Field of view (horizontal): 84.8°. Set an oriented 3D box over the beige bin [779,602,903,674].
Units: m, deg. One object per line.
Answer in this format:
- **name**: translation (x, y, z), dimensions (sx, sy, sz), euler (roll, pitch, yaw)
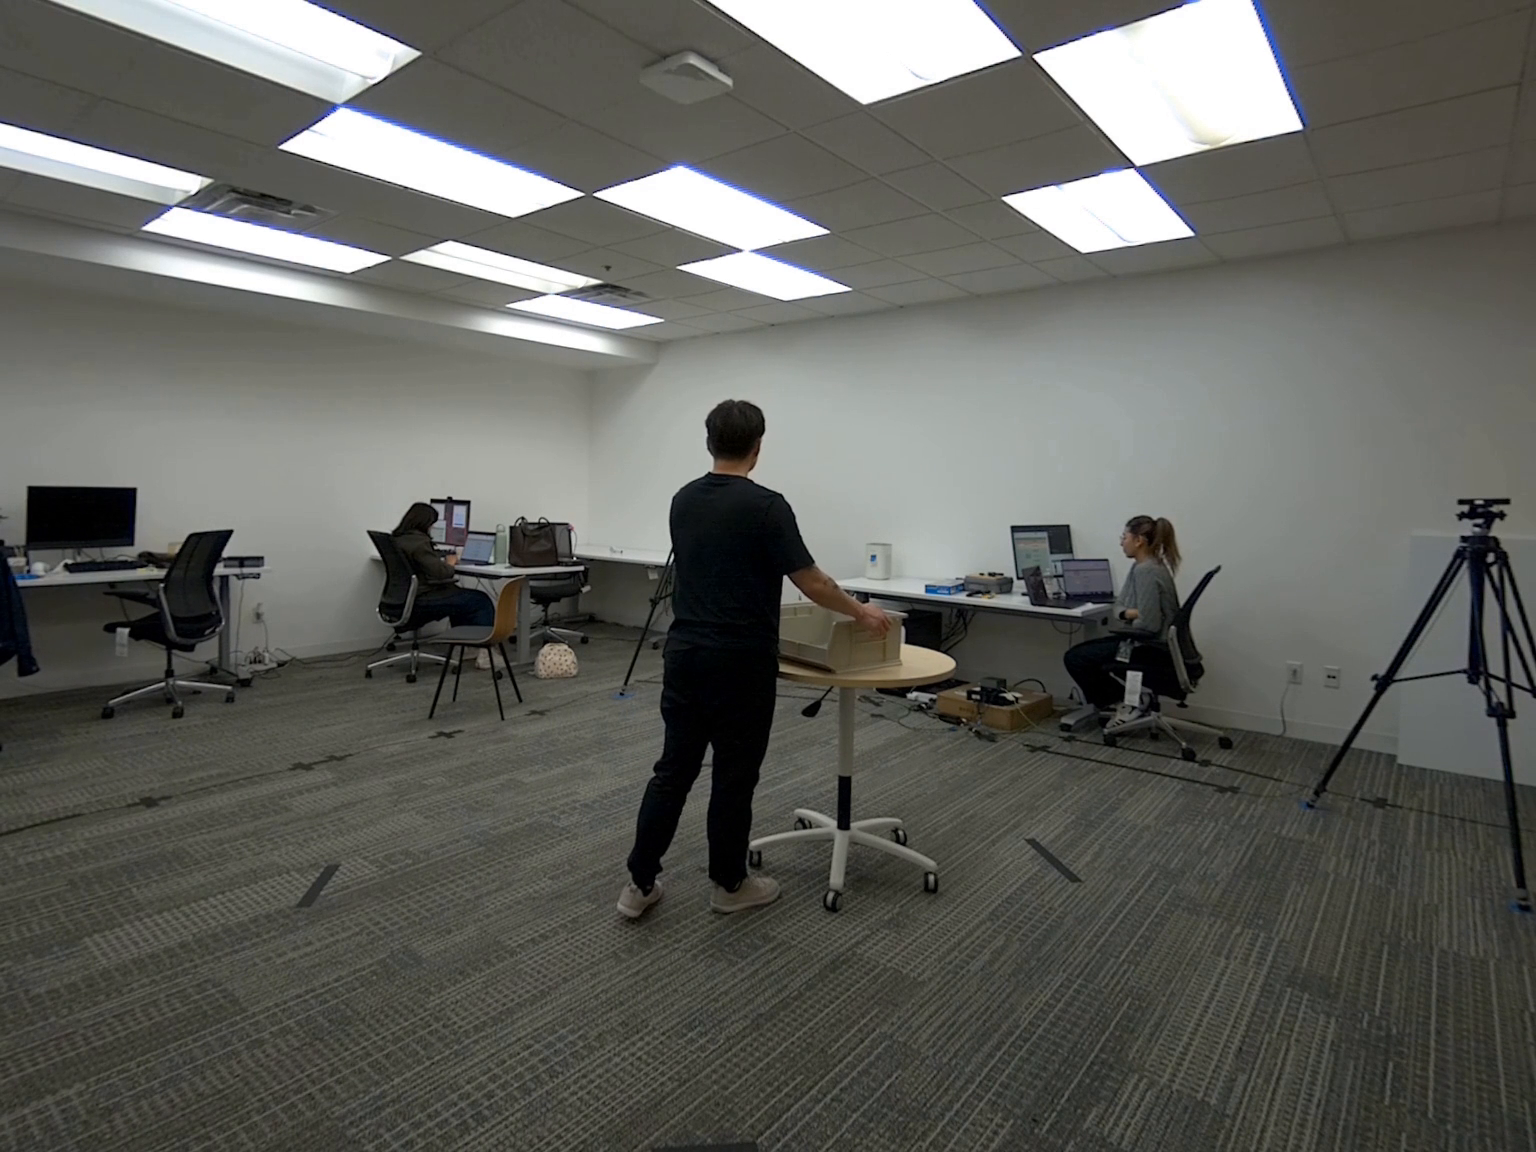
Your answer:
- **beige bin**: translation (0.209, 0.213, 3.068), dimensions (0.366, 0.188, 0.436), euler (0, 4, -38)
